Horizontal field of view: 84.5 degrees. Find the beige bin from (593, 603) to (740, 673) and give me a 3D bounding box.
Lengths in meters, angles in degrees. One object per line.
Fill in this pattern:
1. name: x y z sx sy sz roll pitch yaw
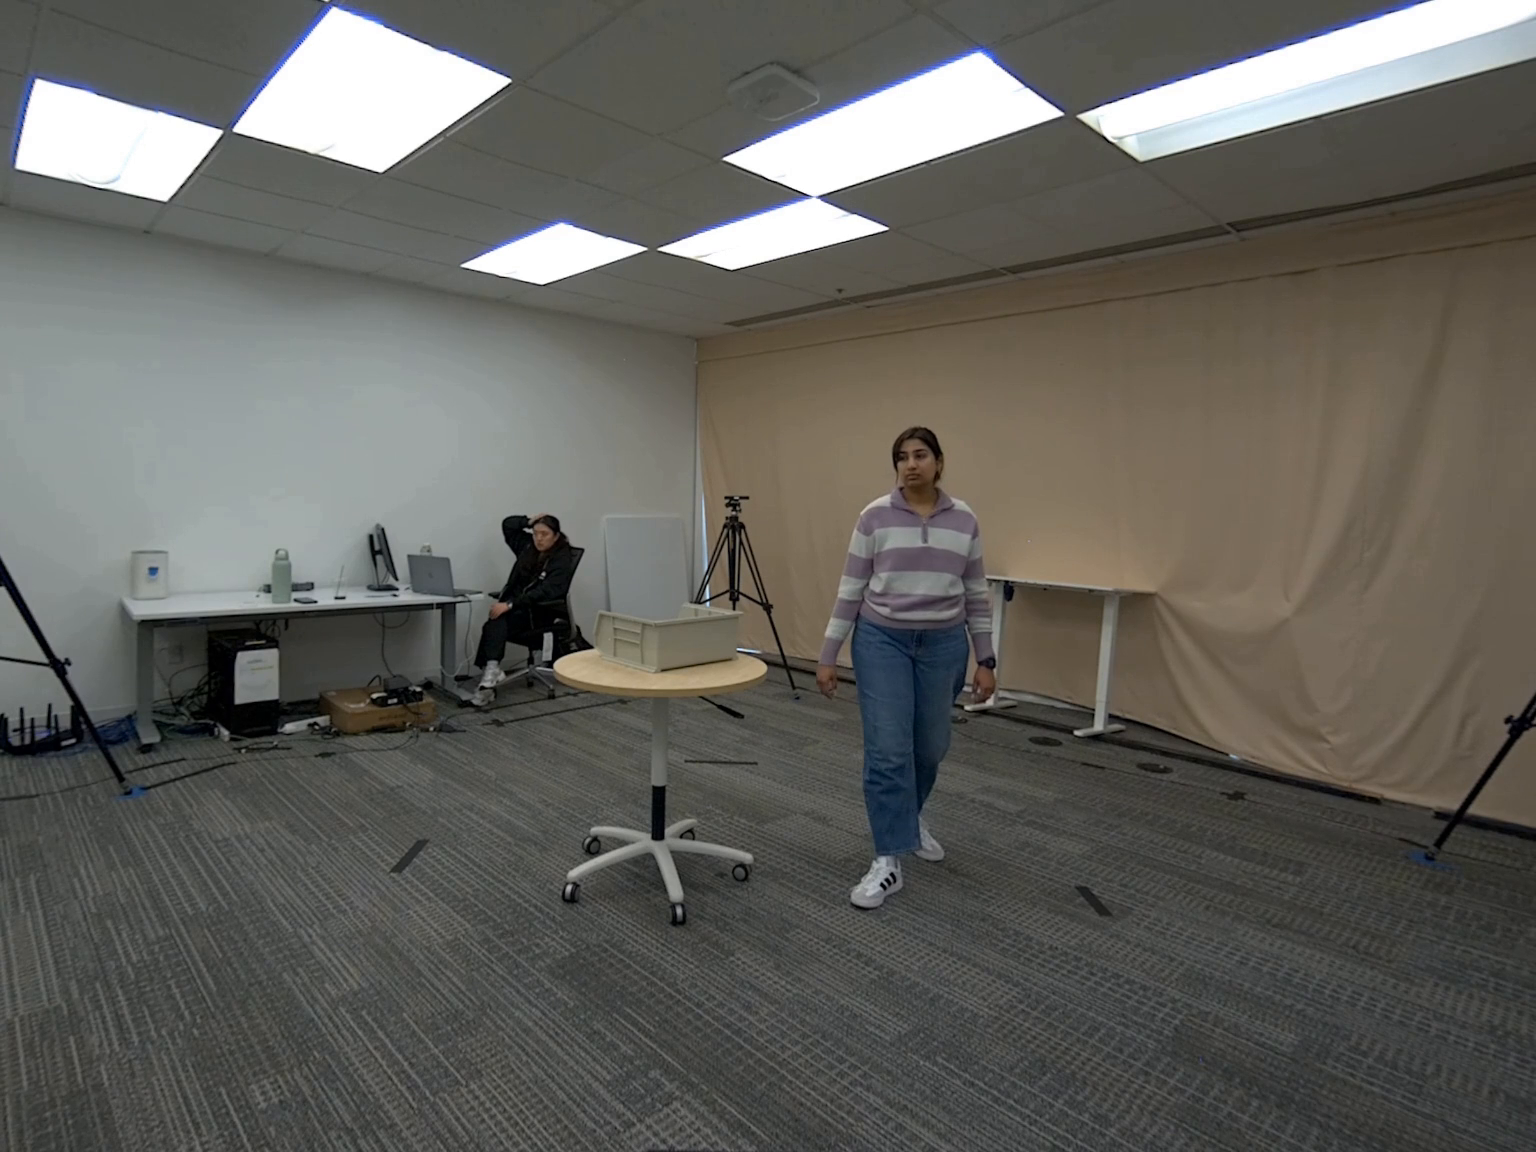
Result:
1. beige bin: -0.386 0.221 3.146 0.387 0.188 0.413 9 8 43
